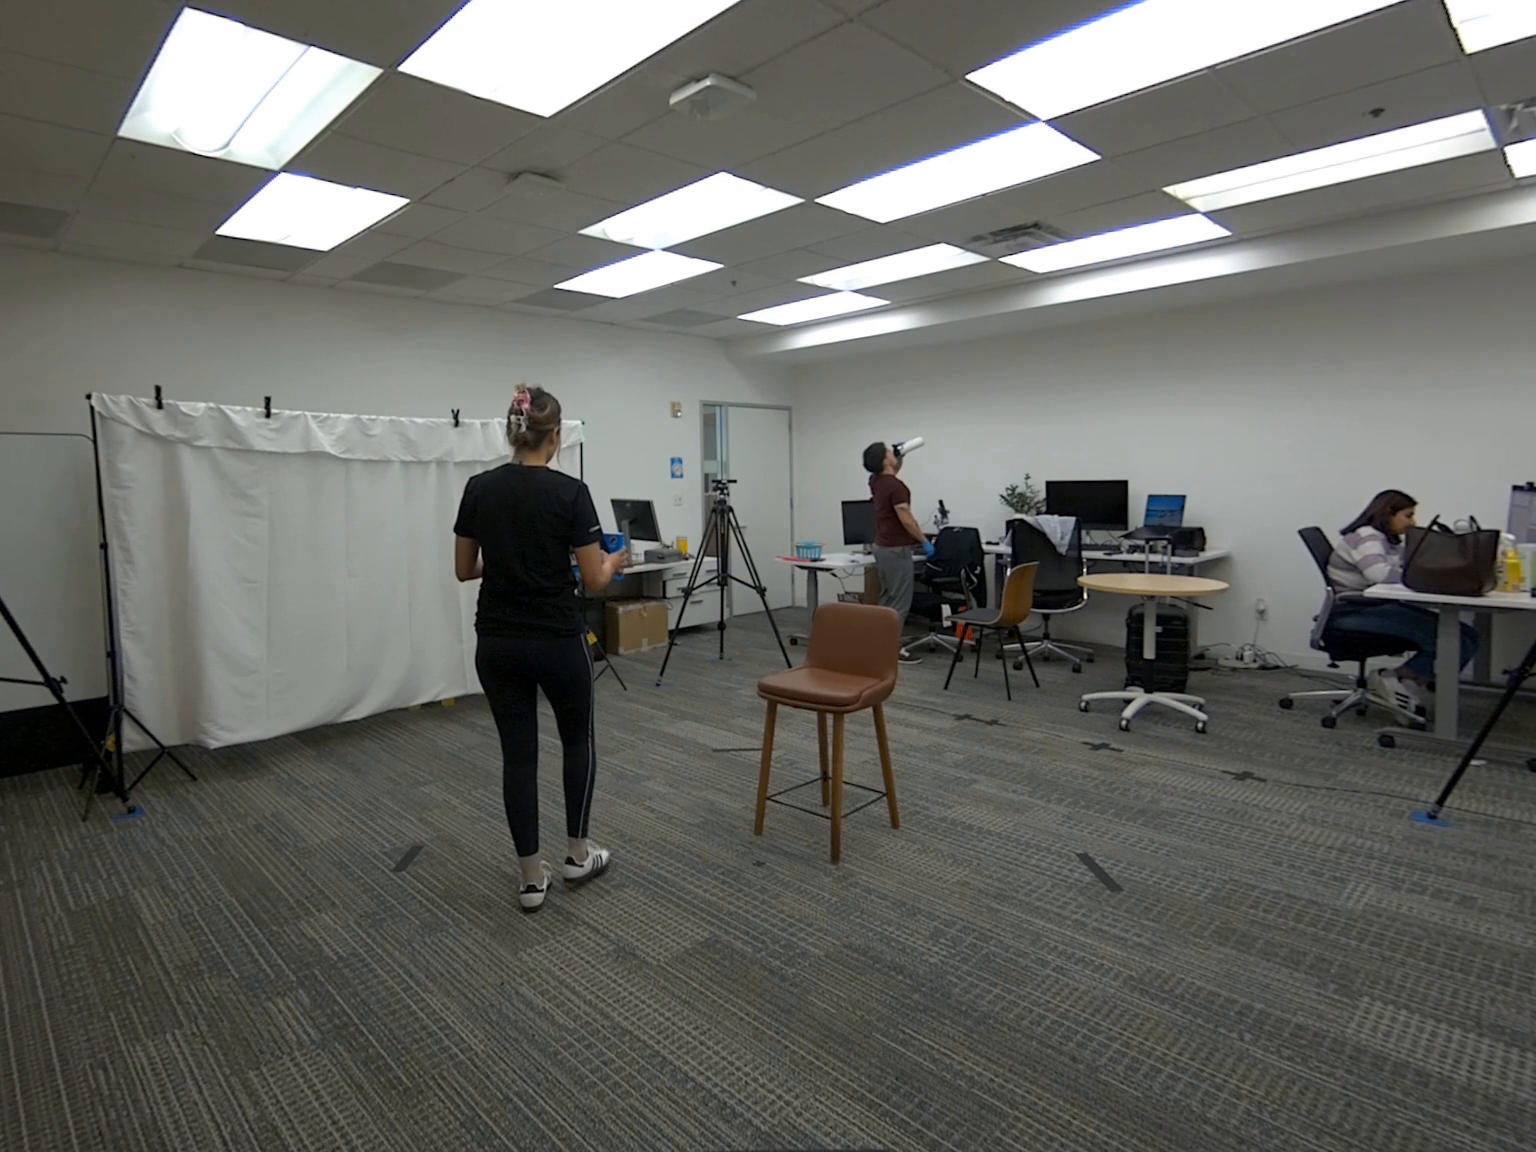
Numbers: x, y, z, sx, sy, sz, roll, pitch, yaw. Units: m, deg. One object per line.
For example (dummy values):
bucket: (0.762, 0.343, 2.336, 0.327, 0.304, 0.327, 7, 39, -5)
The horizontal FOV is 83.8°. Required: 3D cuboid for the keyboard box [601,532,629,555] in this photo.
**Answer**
keyboard box: (-0.771, -0.088, 3.221, 0.441, 0.176, 0.058, 3, 1, 10)
